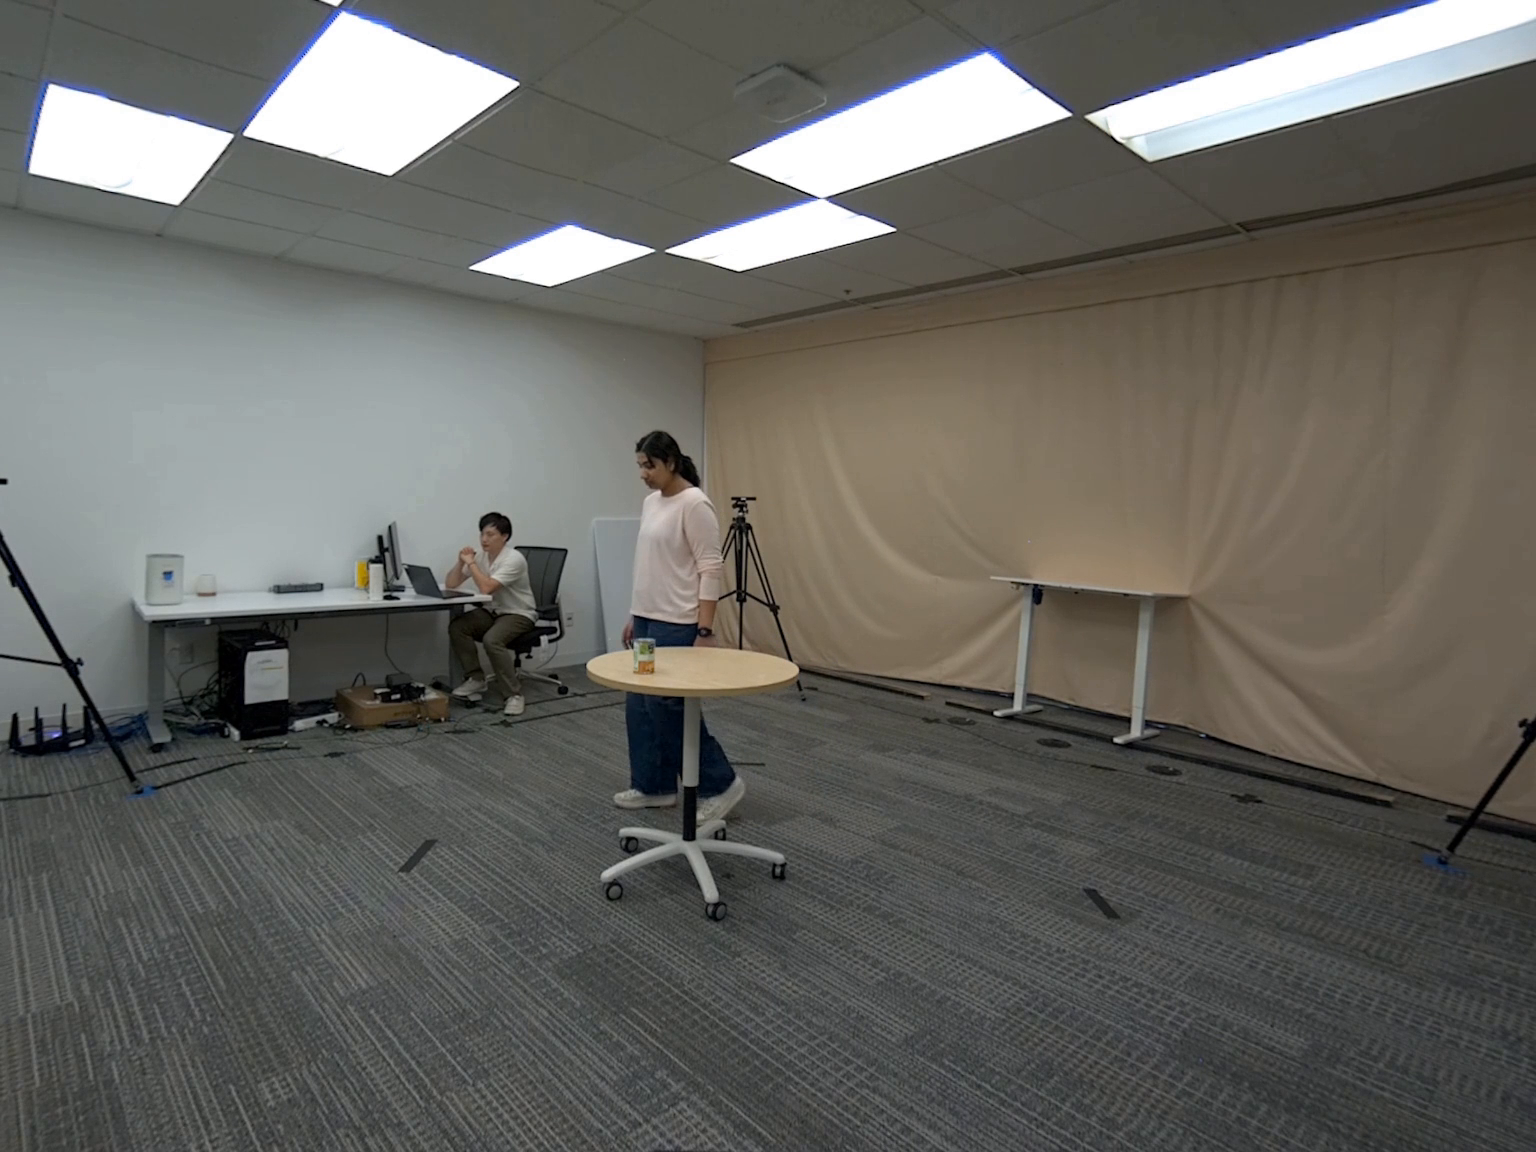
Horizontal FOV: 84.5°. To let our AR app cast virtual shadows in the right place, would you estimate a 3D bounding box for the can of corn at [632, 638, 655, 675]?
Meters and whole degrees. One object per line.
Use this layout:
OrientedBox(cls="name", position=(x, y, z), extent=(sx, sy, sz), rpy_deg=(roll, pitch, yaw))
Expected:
OrientedBox(cls="can of corn", position=(-0.443, 0.278, 2.895), extent=(0.074, 0.111, 0.074), rpy_deg=(0, 2, -1))
